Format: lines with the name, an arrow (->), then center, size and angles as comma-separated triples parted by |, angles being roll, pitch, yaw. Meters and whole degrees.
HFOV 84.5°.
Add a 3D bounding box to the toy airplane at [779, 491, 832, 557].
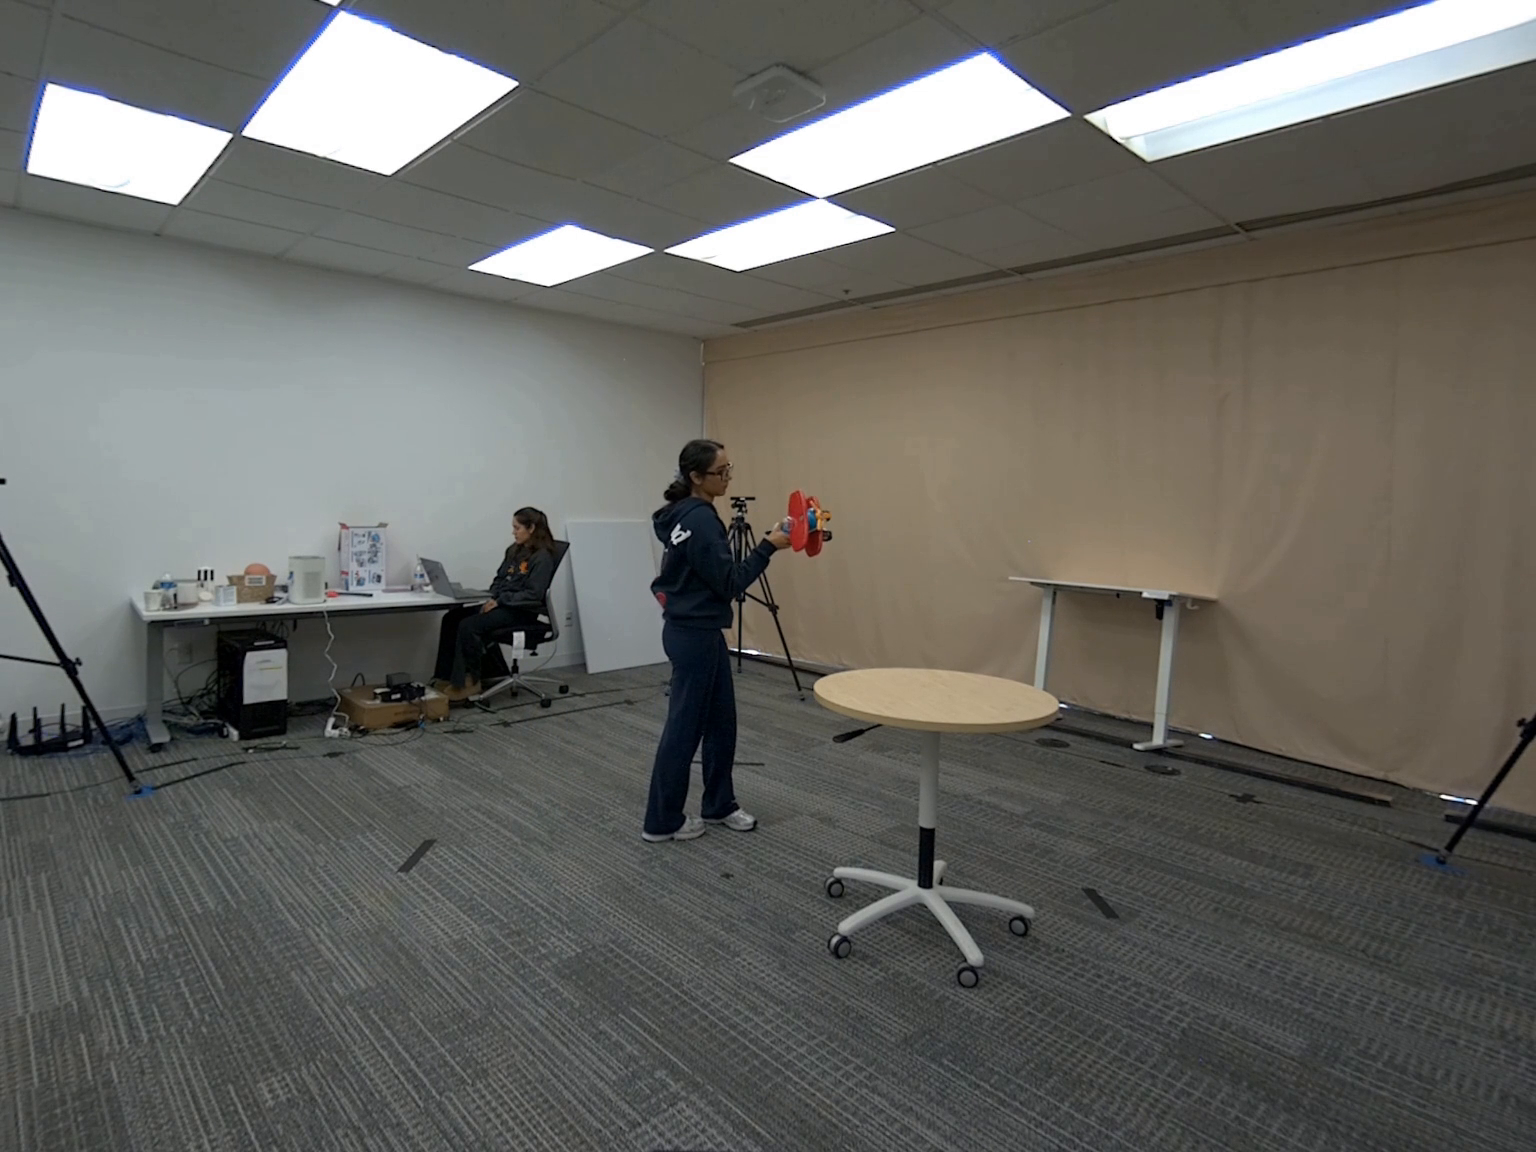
toy airplane -> 0.116, -0.173, 3.303 | 0.151, 0.259, 0.259 | 29, 23, -48
